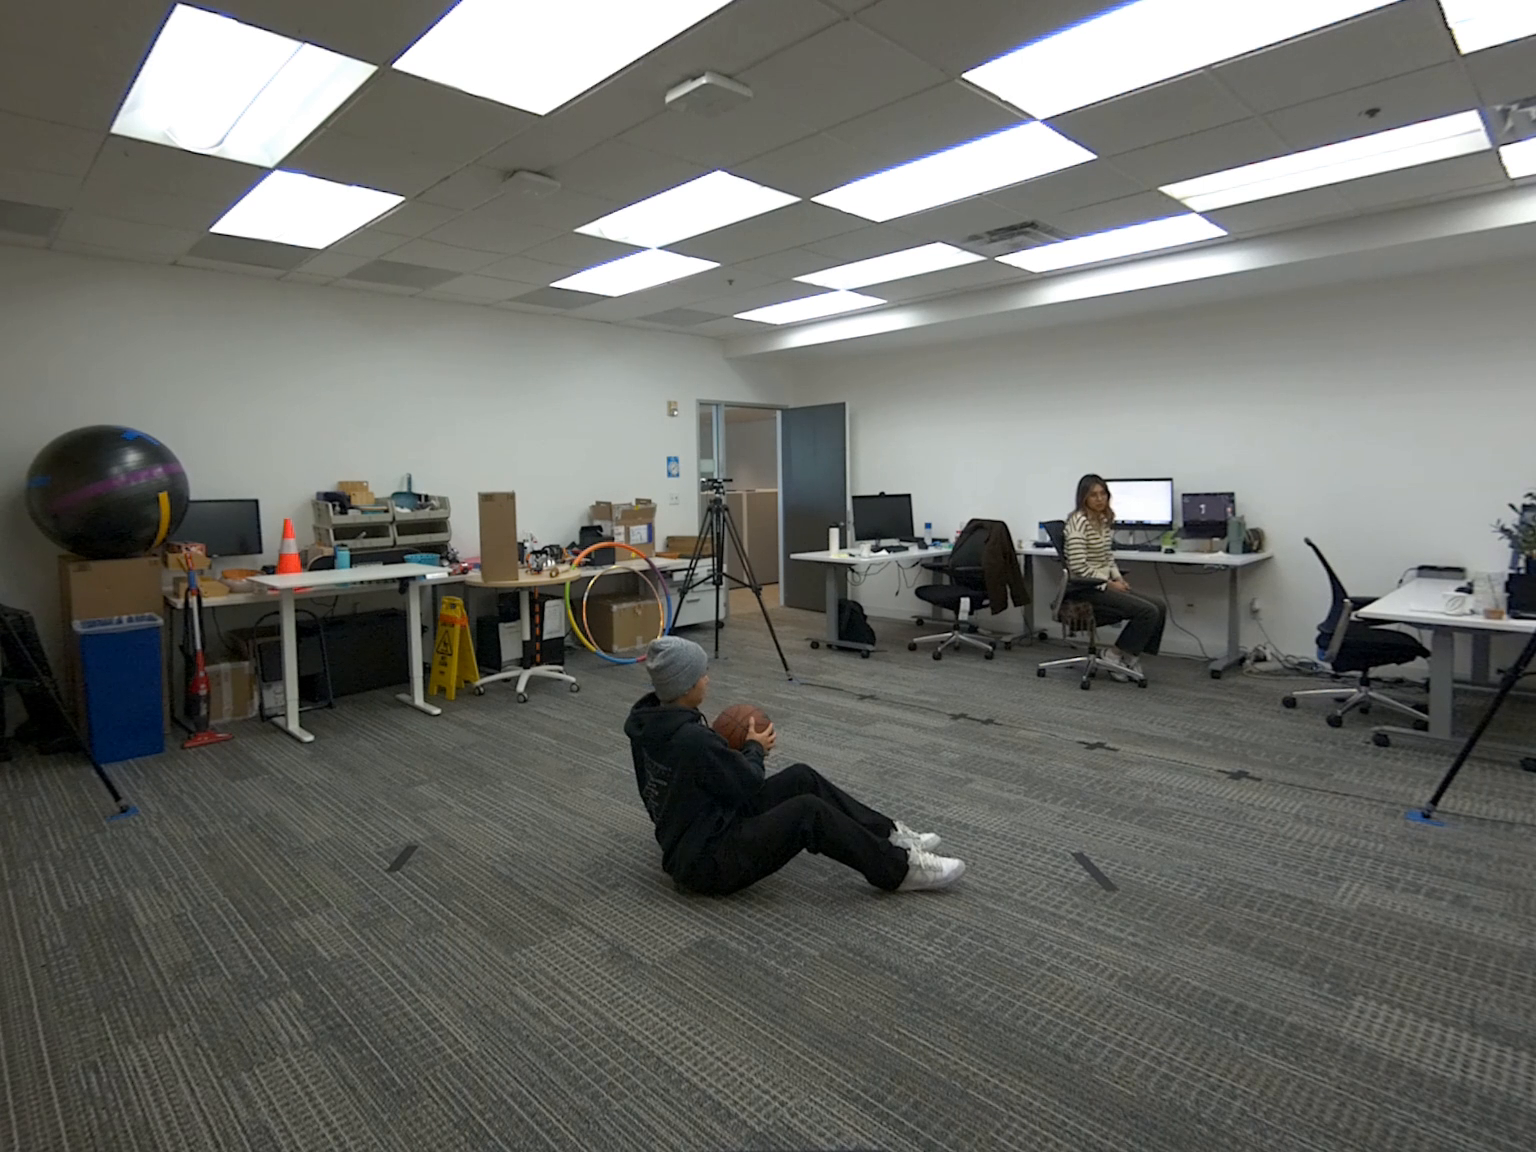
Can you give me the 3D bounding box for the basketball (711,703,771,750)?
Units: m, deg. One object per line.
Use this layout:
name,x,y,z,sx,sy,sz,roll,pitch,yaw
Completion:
basketball,-0.094,0.615,3.311,0.236,0.235,0.237,-1,5,-2
